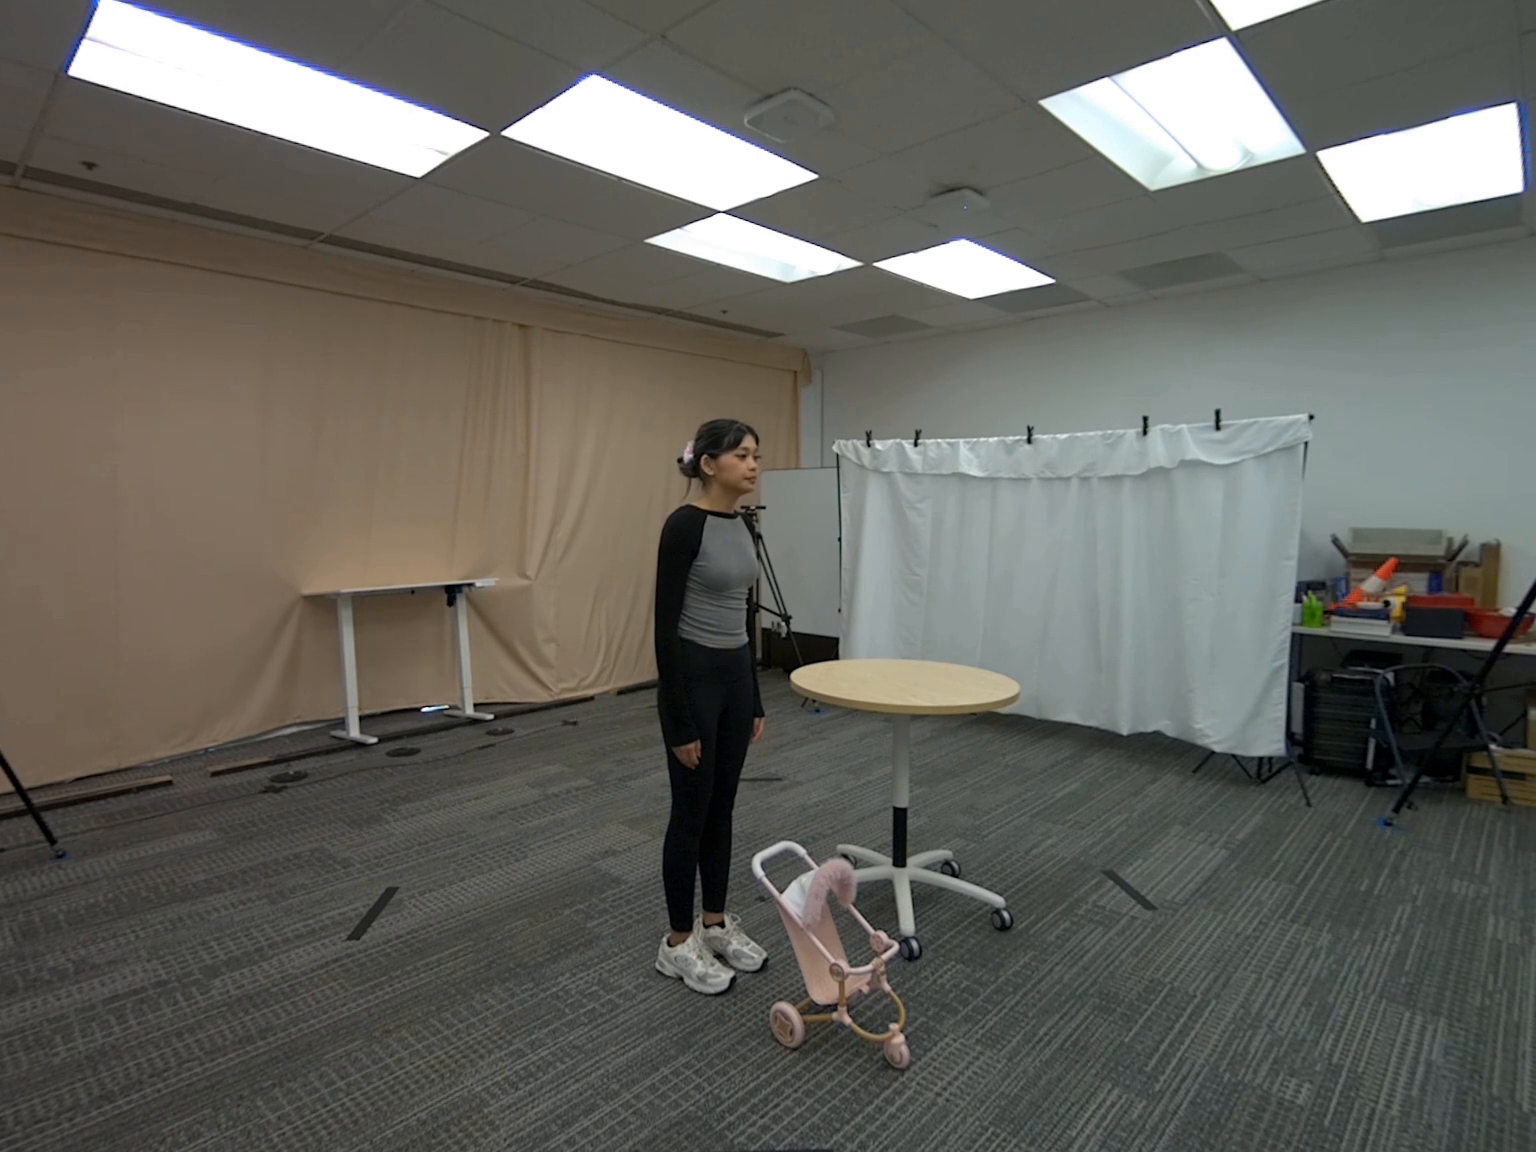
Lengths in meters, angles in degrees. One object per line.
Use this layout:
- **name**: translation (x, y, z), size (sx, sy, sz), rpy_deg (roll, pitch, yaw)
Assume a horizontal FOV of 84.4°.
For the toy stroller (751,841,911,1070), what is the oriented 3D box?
- **toy stroller**: translation (0.182, 0.985, 2.205), size (0.273, 0.538, 0.350), rpy_deg (-3, -10, -44)
